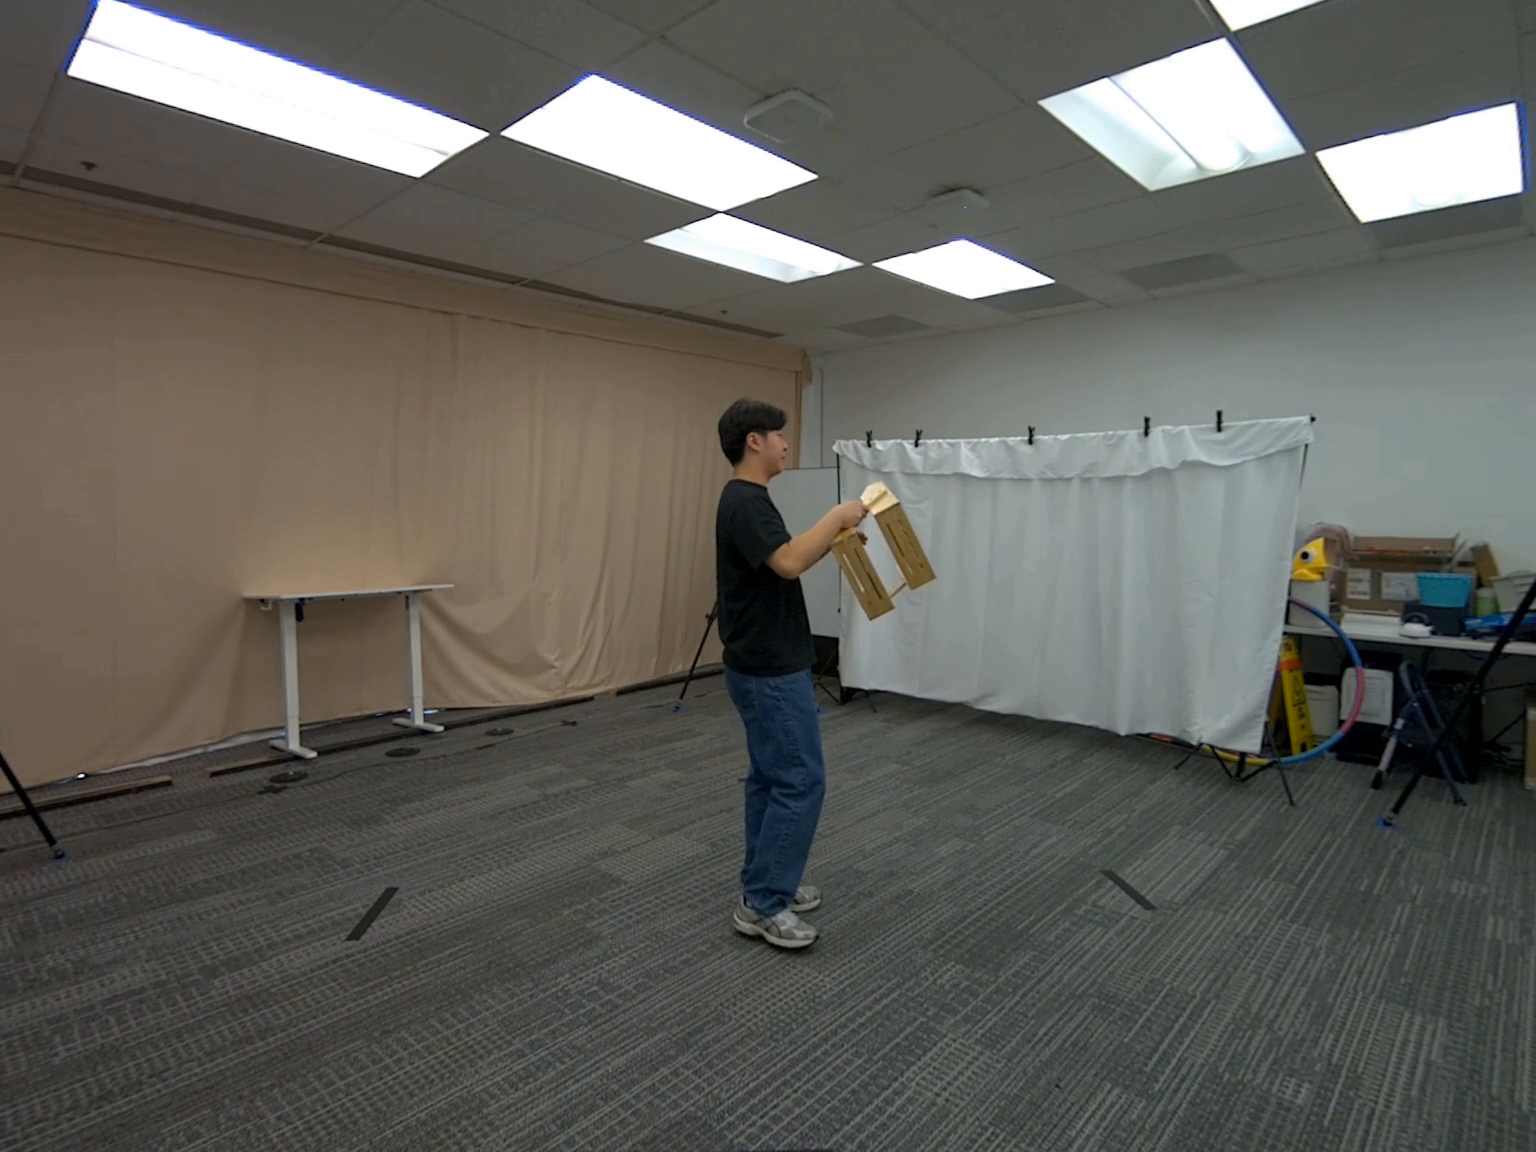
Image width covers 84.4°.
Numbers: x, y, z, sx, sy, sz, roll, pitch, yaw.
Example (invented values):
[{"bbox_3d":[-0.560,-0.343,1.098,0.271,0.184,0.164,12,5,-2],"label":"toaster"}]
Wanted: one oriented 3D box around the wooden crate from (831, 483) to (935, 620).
[{"bbox_3d":[0.361,-0.088,2.798,0.274,0.318,0.307,-28,21,5],"label":"wooden crate"}]
